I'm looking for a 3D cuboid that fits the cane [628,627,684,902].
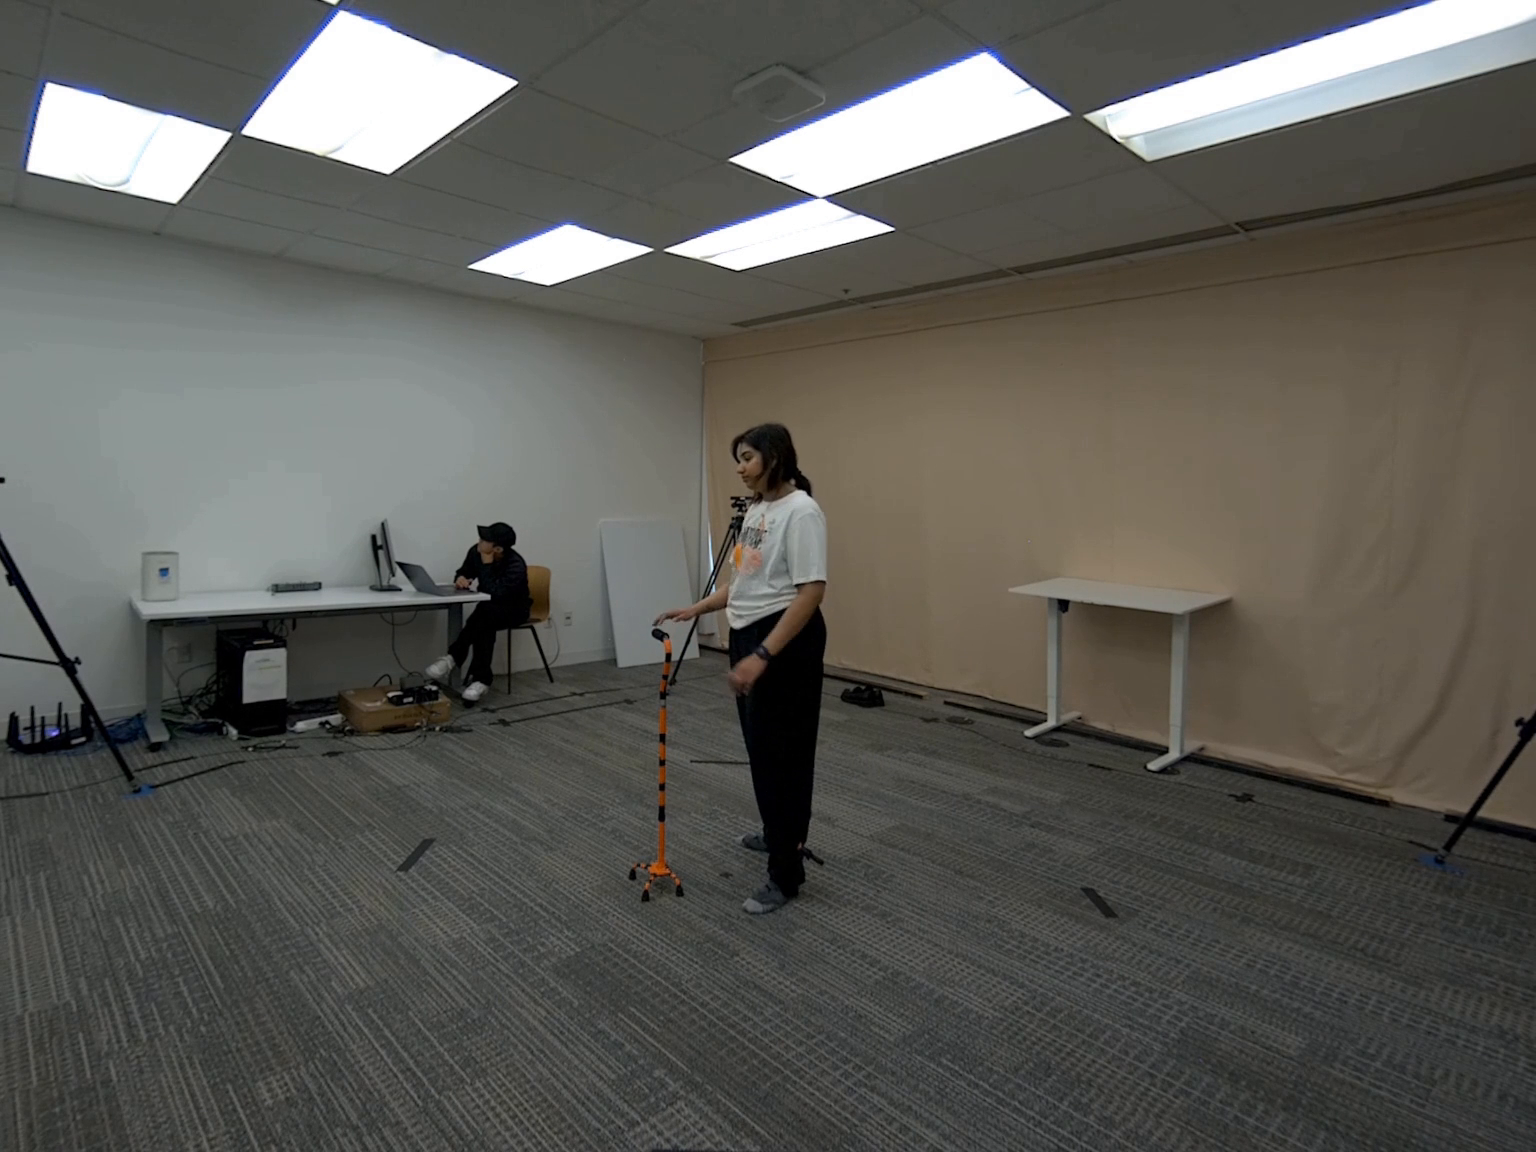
[{"bbox_3d":[-0.393,0.651,2.977,0.149,0.906,0.210,0,4,-23],"label":"cane"}]
